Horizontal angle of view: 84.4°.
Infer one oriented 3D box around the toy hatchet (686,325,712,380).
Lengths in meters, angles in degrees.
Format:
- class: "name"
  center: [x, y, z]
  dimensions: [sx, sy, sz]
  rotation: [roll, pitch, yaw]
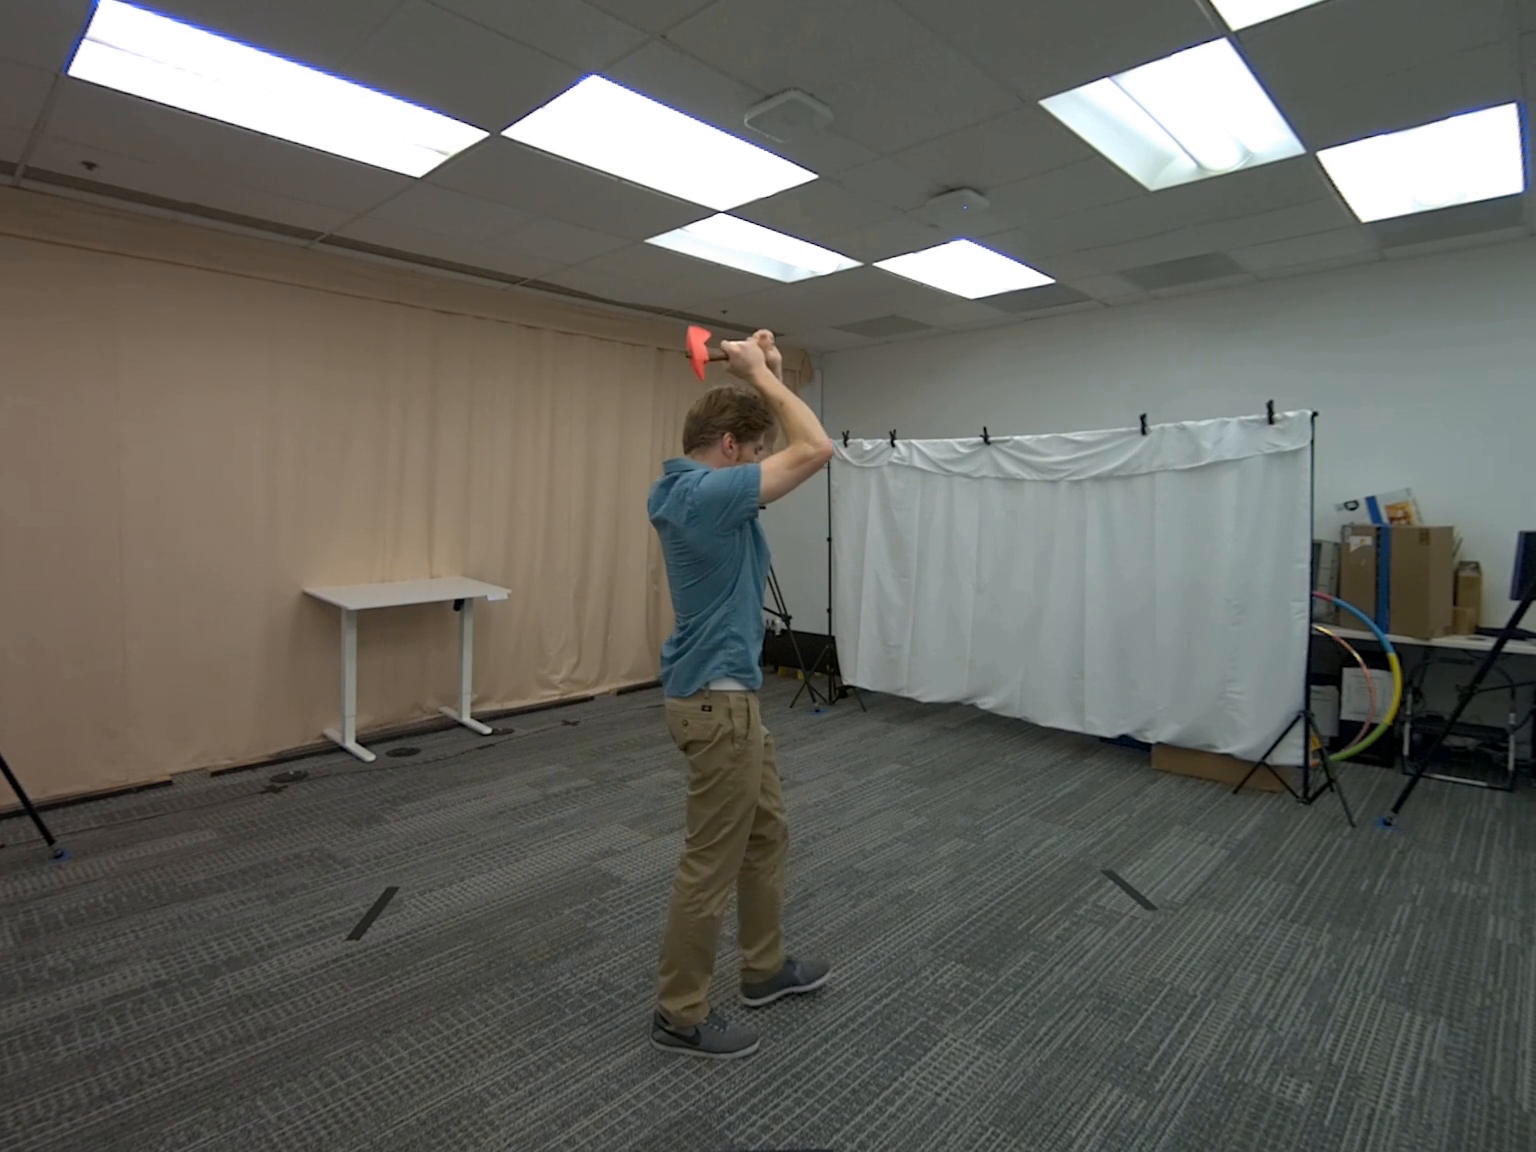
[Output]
- class: "toy hatchet"
  center: [-0.094, -0.582, 2.081]
  dimensions: [0.266, 0.131, 0.030]
  rotation: [-30, -1, -28]
